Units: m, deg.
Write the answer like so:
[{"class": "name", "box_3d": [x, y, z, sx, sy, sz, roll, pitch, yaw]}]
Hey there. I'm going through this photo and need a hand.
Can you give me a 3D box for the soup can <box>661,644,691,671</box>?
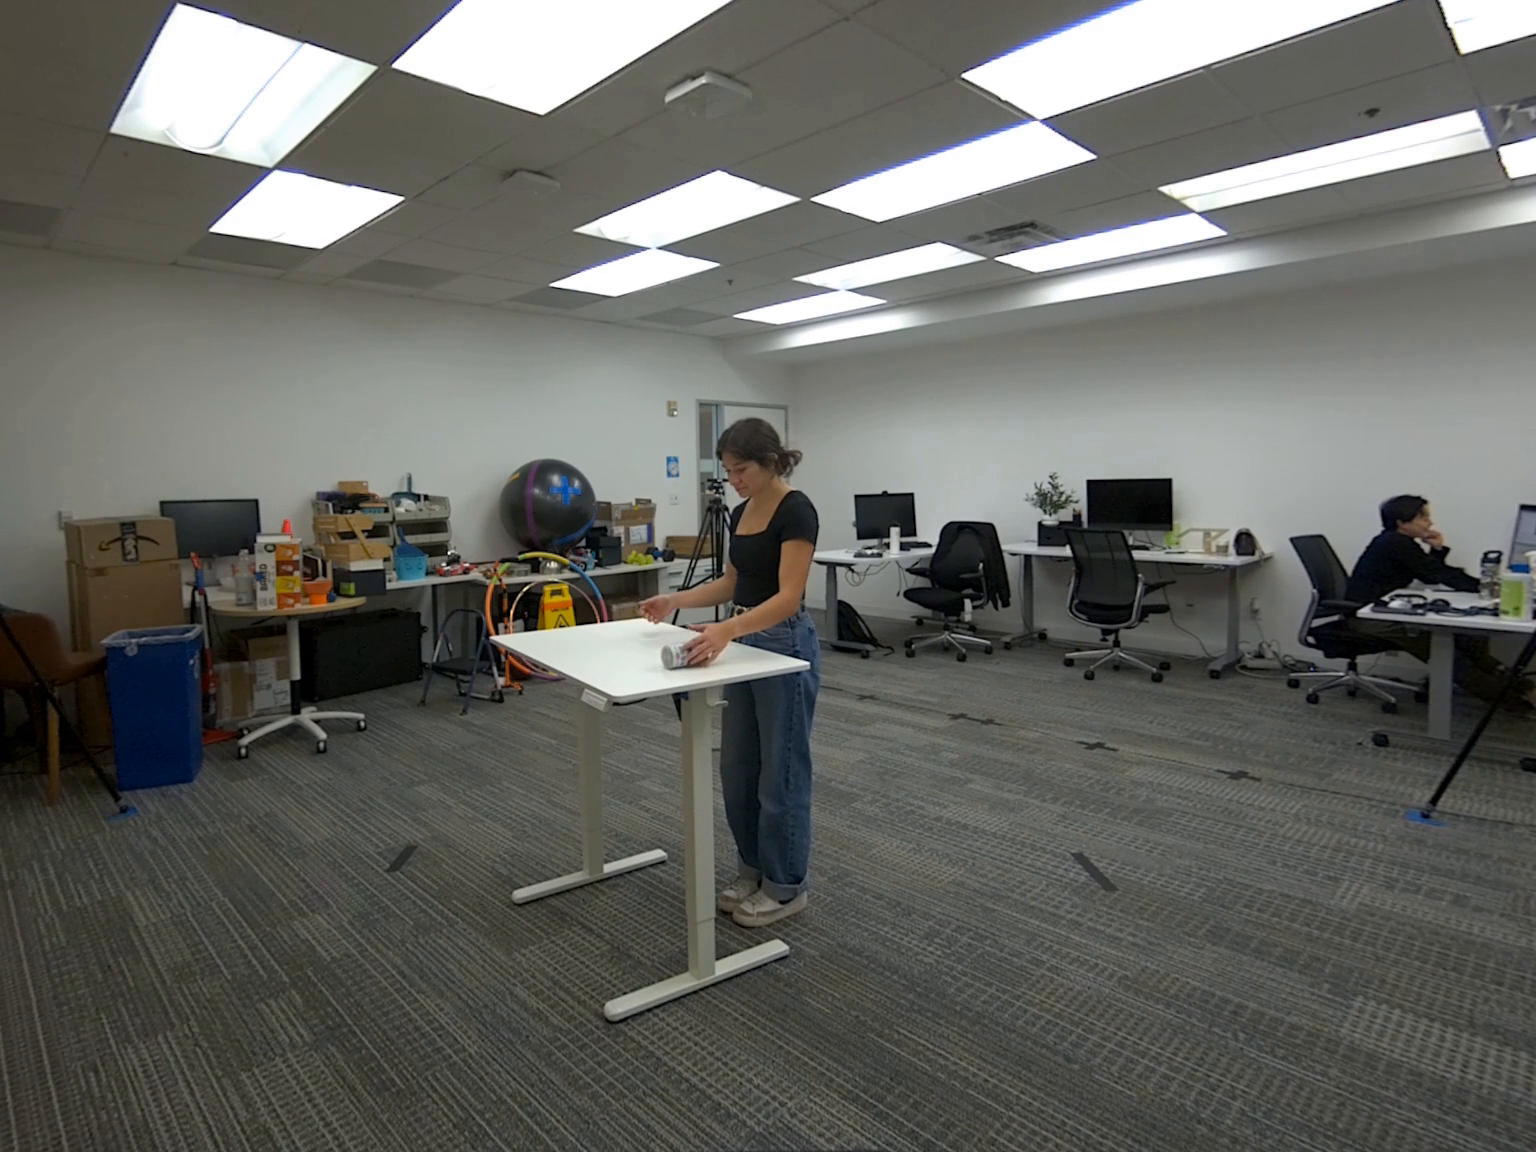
[{"class": "soup can", "box_3d": [-0.238, 0.222, 2.375, 0.118, 0.067, 0.069, -4, 6, -35]}]
